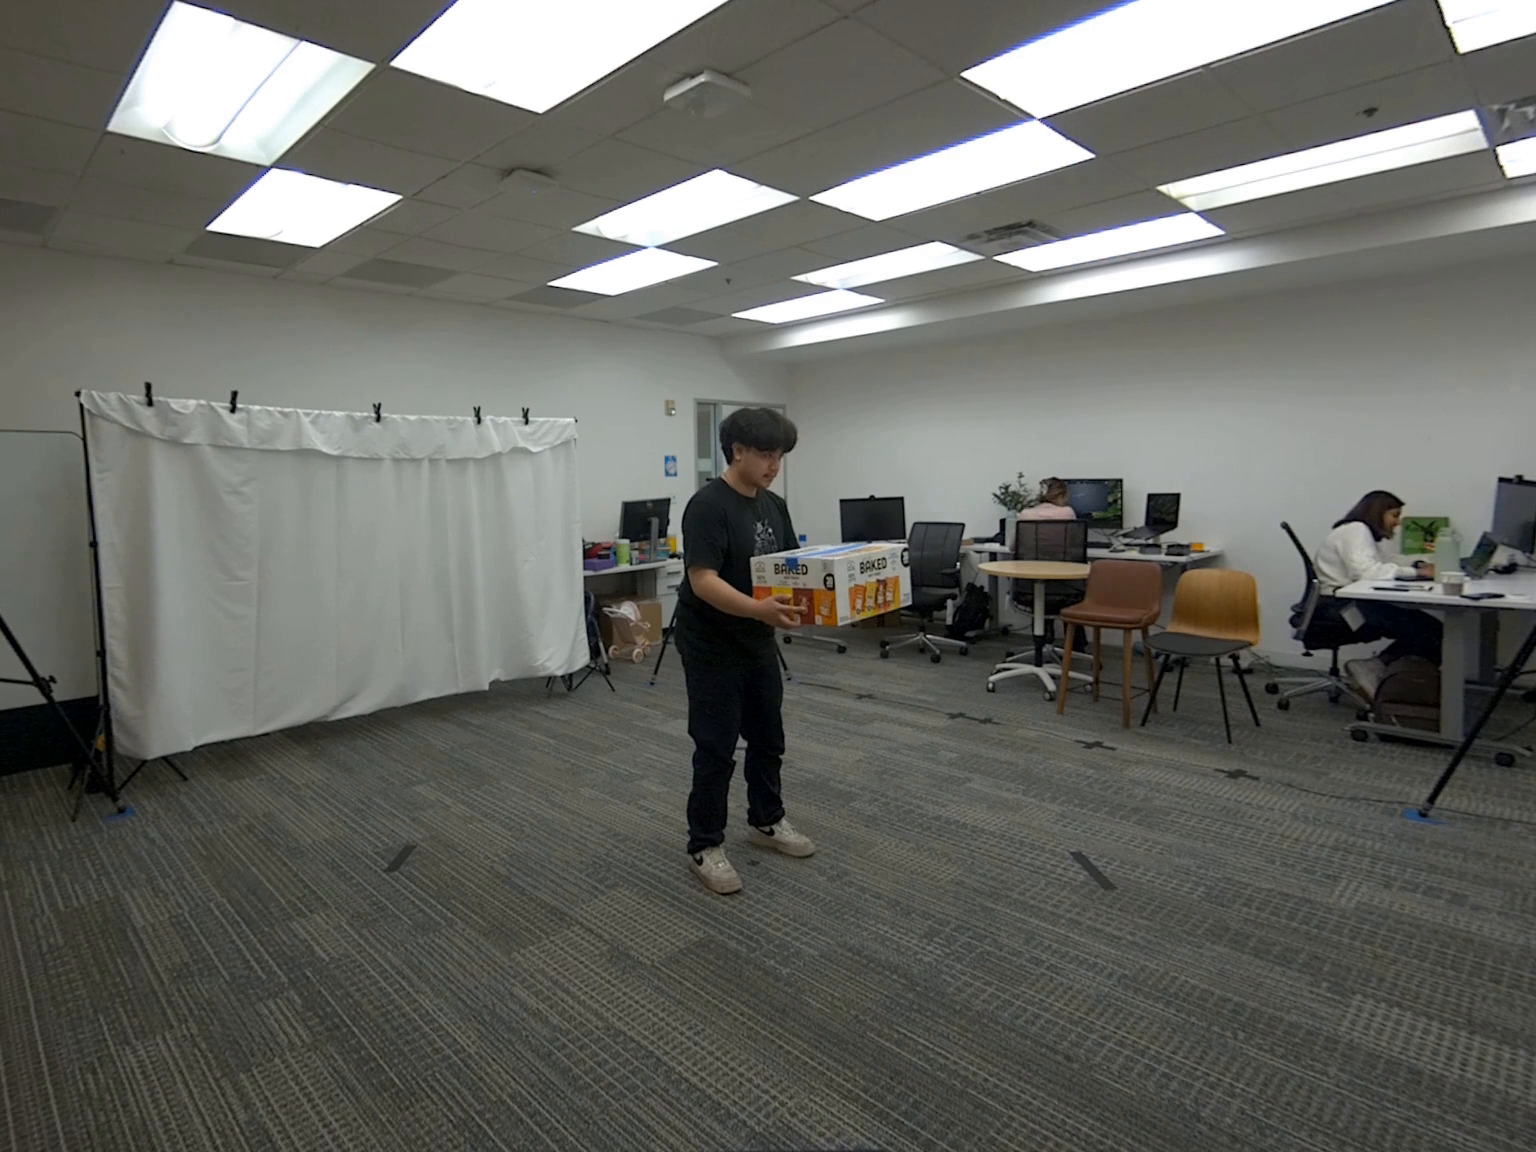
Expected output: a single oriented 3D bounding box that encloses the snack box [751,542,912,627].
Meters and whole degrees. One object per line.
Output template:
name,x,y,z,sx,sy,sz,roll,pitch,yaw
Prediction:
snack box,0.205,0.021,2.775,0.350,0.205,0.395,2,8,43
